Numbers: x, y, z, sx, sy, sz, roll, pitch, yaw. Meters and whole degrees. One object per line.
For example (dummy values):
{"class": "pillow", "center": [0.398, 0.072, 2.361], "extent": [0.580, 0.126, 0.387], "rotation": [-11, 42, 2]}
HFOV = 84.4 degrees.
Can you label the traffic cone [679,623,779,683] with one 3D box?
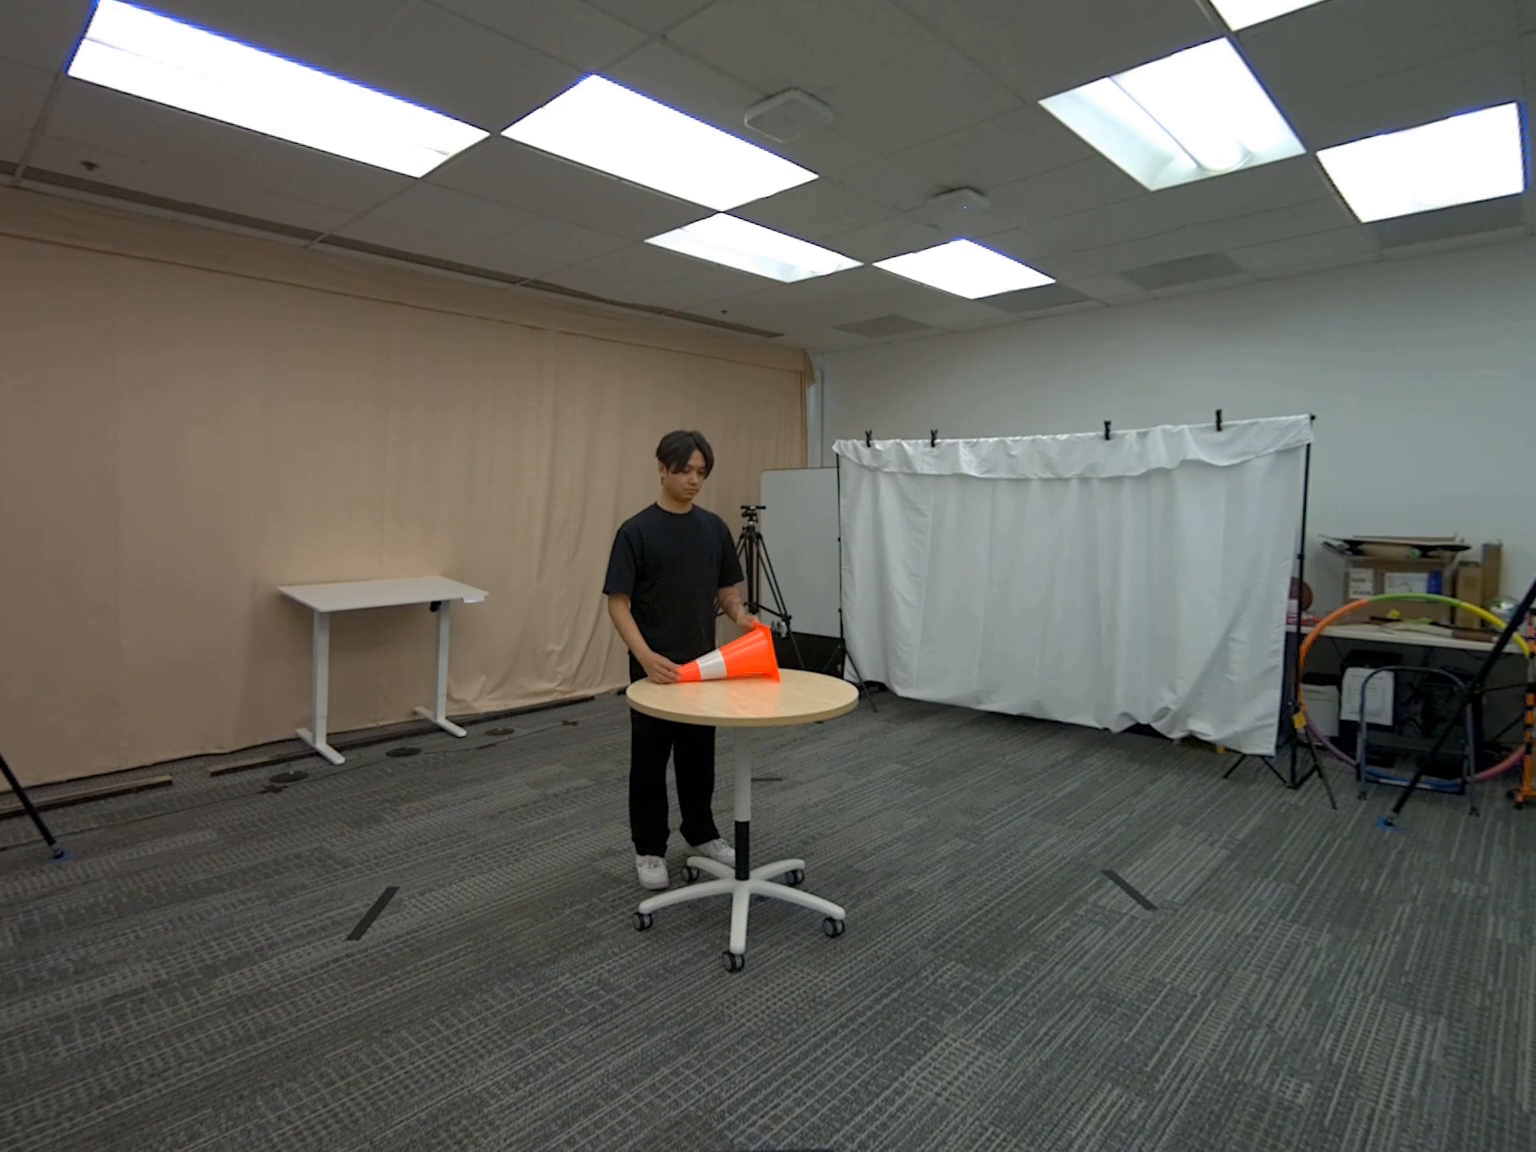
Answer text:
{"class": "traffic cone", "center": [-0.187, 0.319, 2.948], "extent": [0.379, 0.202, 0.208], "rotation": [-16, 7, -14]}
